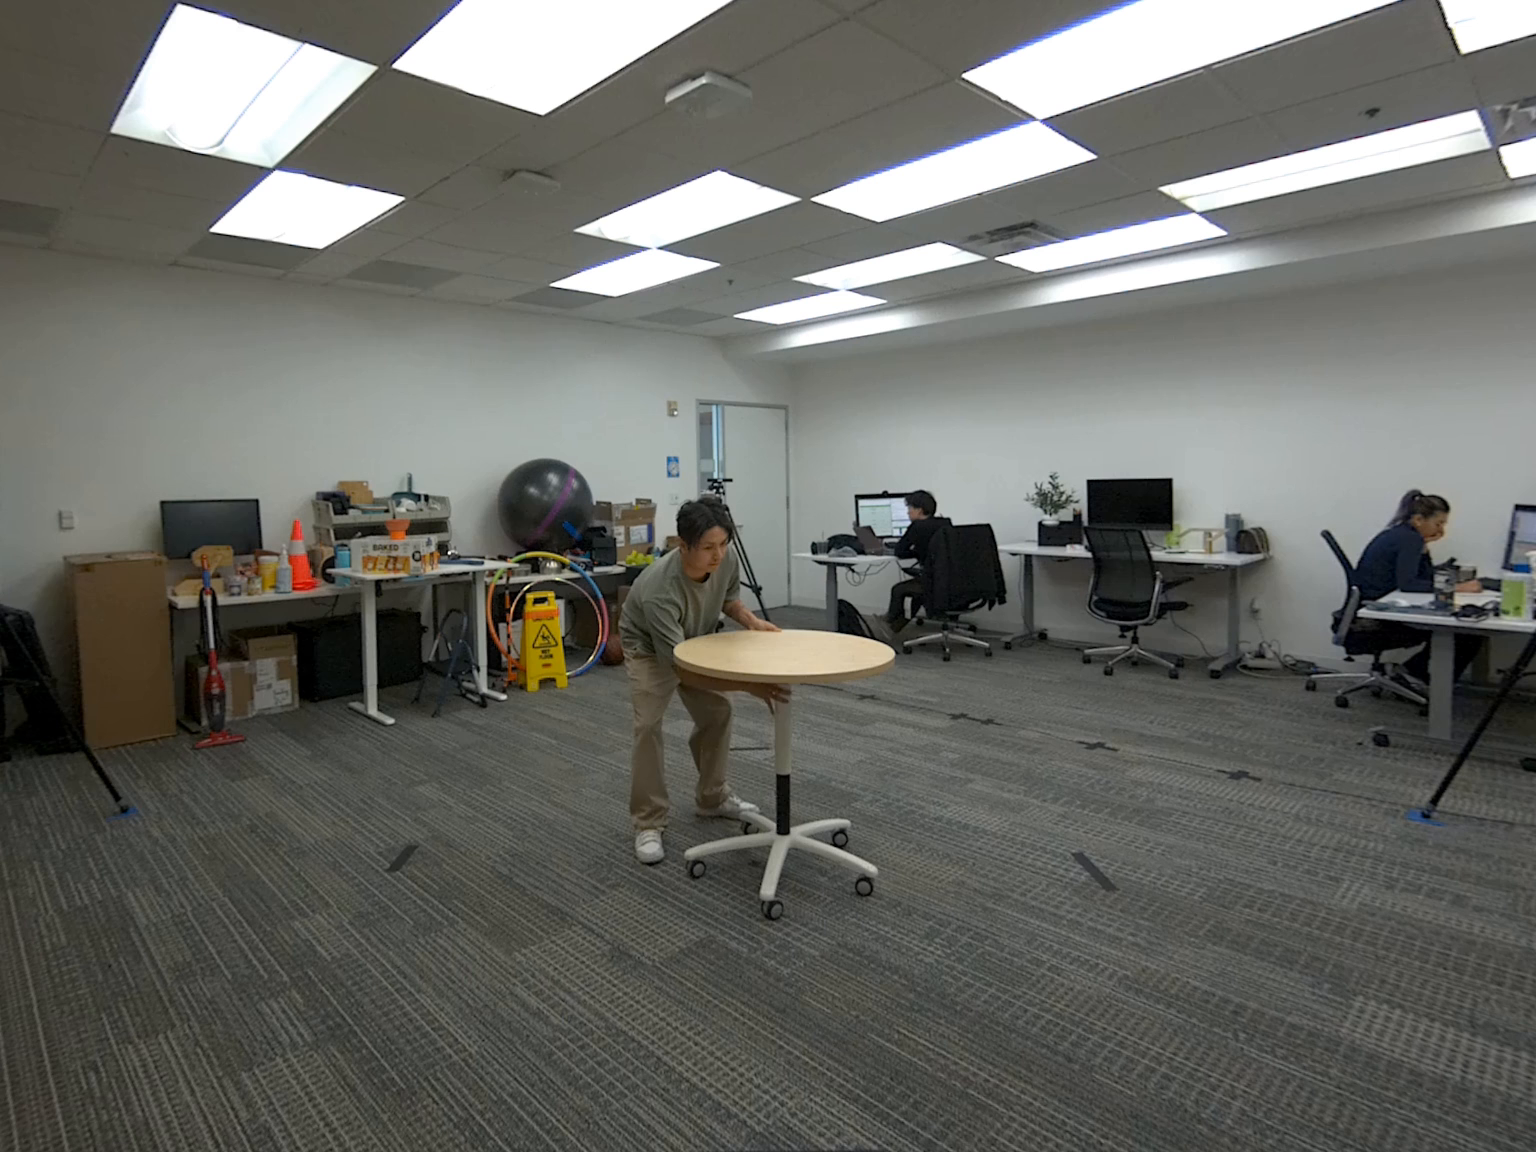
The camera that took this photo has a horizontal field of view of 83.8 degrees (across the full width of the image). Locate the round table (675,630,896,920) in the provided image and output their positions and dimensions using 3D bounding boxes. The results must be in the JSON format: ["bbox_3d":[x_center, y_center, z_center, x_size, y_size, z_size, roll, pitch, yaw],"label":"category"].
[{"bbox_3d":[0.073,0.647,3.012,0.784,0.783,0.790,0,6,-2],"label":"round table"}]
